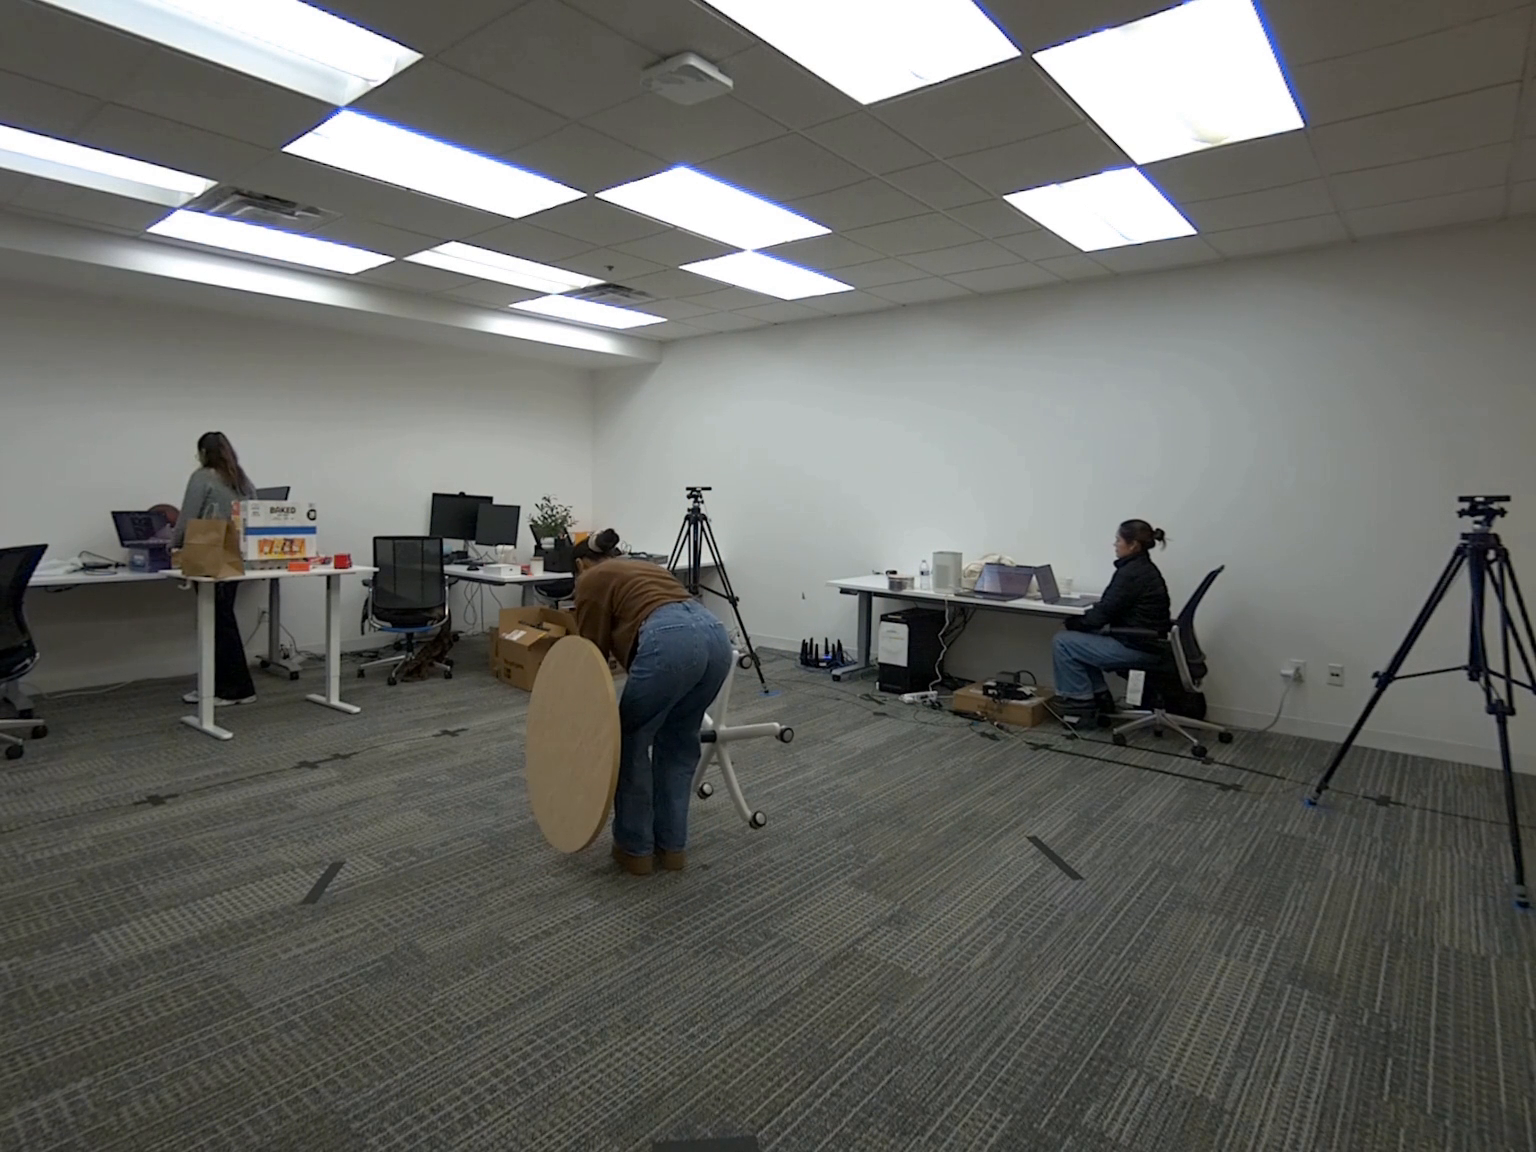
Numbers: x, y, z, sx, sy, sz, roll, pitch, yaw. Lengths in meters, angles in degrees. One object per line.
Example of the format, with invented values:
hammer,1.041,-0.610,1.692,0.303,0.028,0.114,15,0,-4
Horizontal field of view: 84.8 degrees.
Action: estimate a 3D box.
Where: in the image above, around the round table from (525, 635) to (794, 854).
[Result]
round table,-0.440,0.632,3.327,0.768,0.764,0.789,6,0,-35
